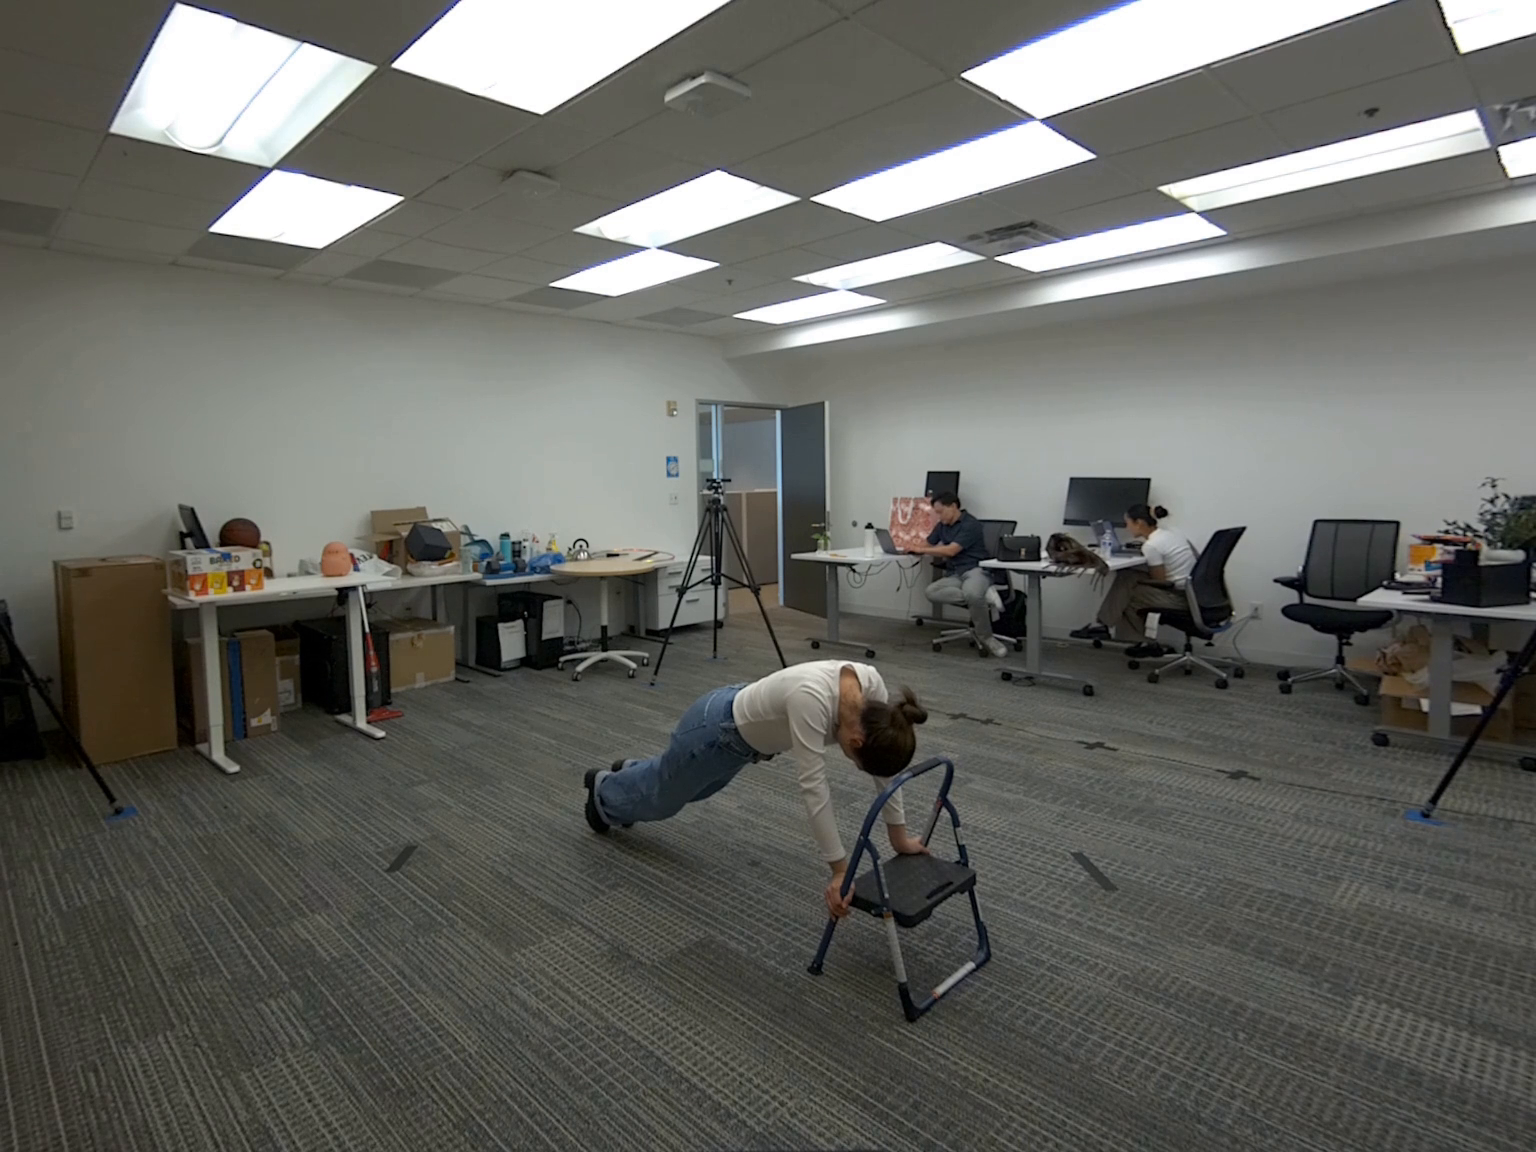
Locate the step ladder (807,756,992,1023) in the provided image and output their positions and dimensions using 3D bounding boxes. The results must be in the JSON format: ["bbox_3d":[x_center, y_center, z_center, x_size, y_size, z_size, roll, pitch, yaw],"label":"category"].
[{"bbox_3d":[0.383,0.816,2.424,0.360,0.604,0.419,3,6,43],"label":"step ladder"}]
